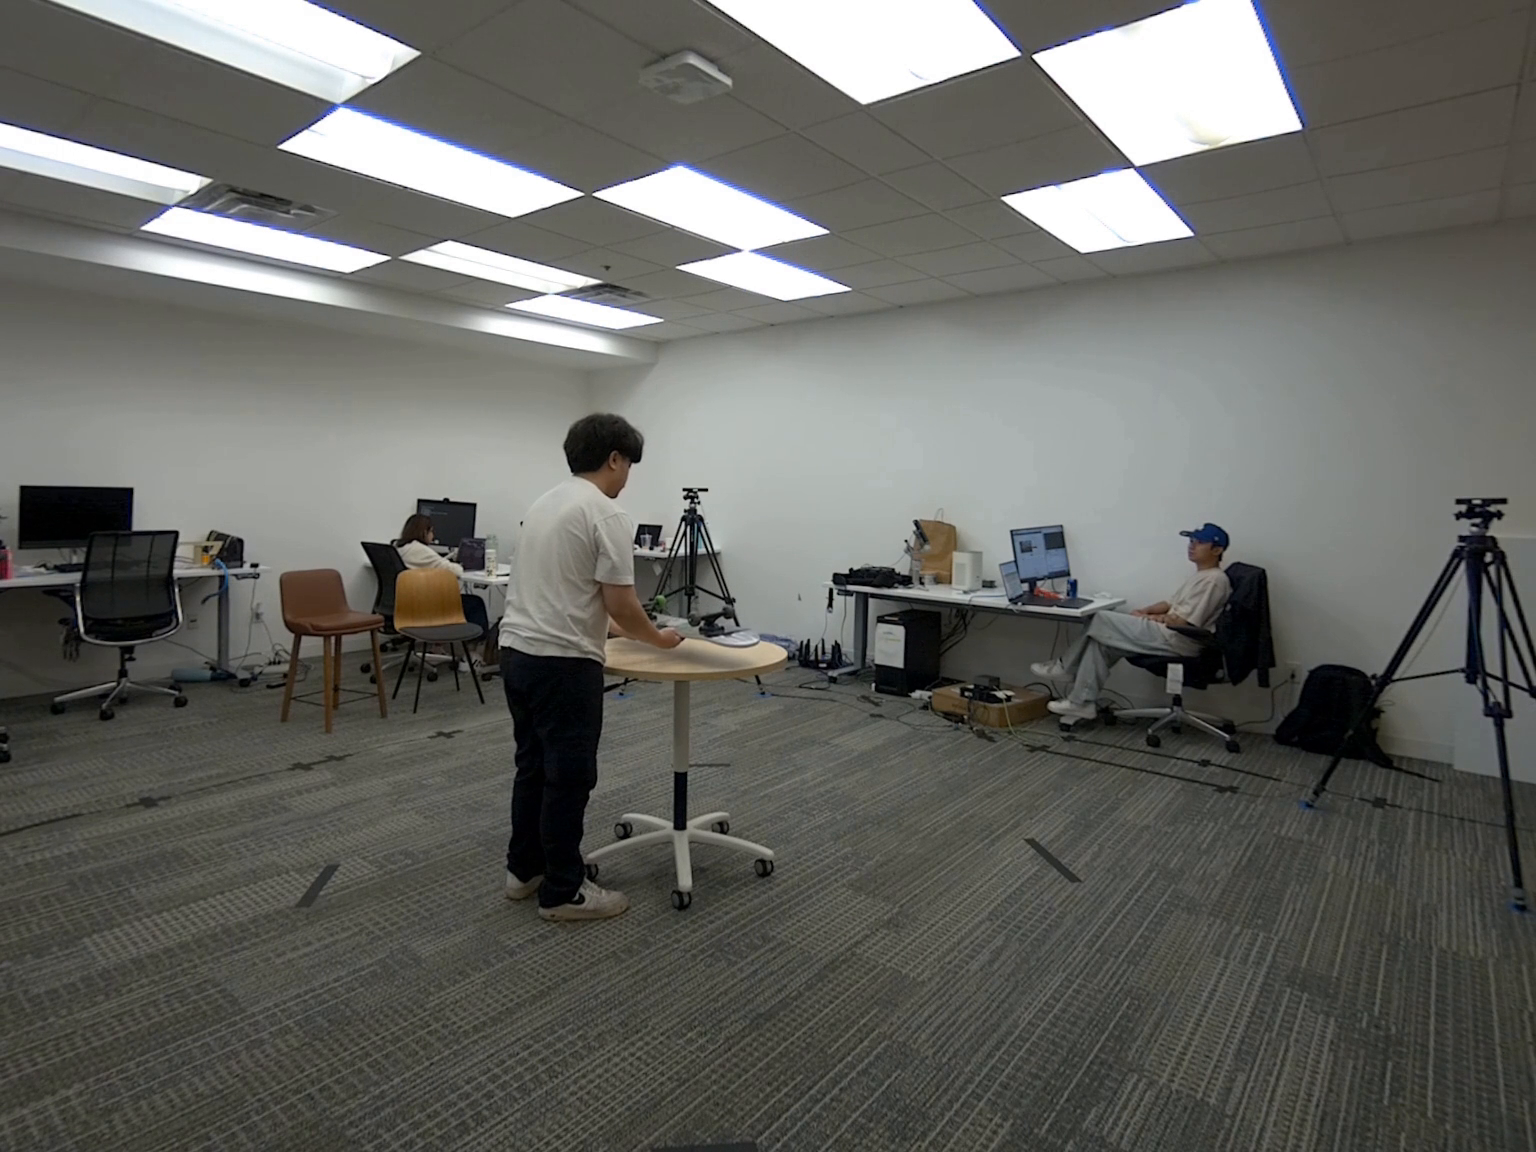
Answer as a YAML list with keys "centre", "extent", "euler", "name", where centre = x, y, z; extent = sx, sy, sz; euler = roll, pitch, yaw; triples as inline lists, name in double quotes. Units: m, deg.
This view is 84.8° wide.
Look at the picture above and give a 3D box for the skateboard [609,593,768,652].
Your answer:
- centre: [-0.339, 0.157, 3.078]
  extent: [0.188, 0.110, 0.811]
  euler: [-9, 8, -39]
  name: "skateboard"
